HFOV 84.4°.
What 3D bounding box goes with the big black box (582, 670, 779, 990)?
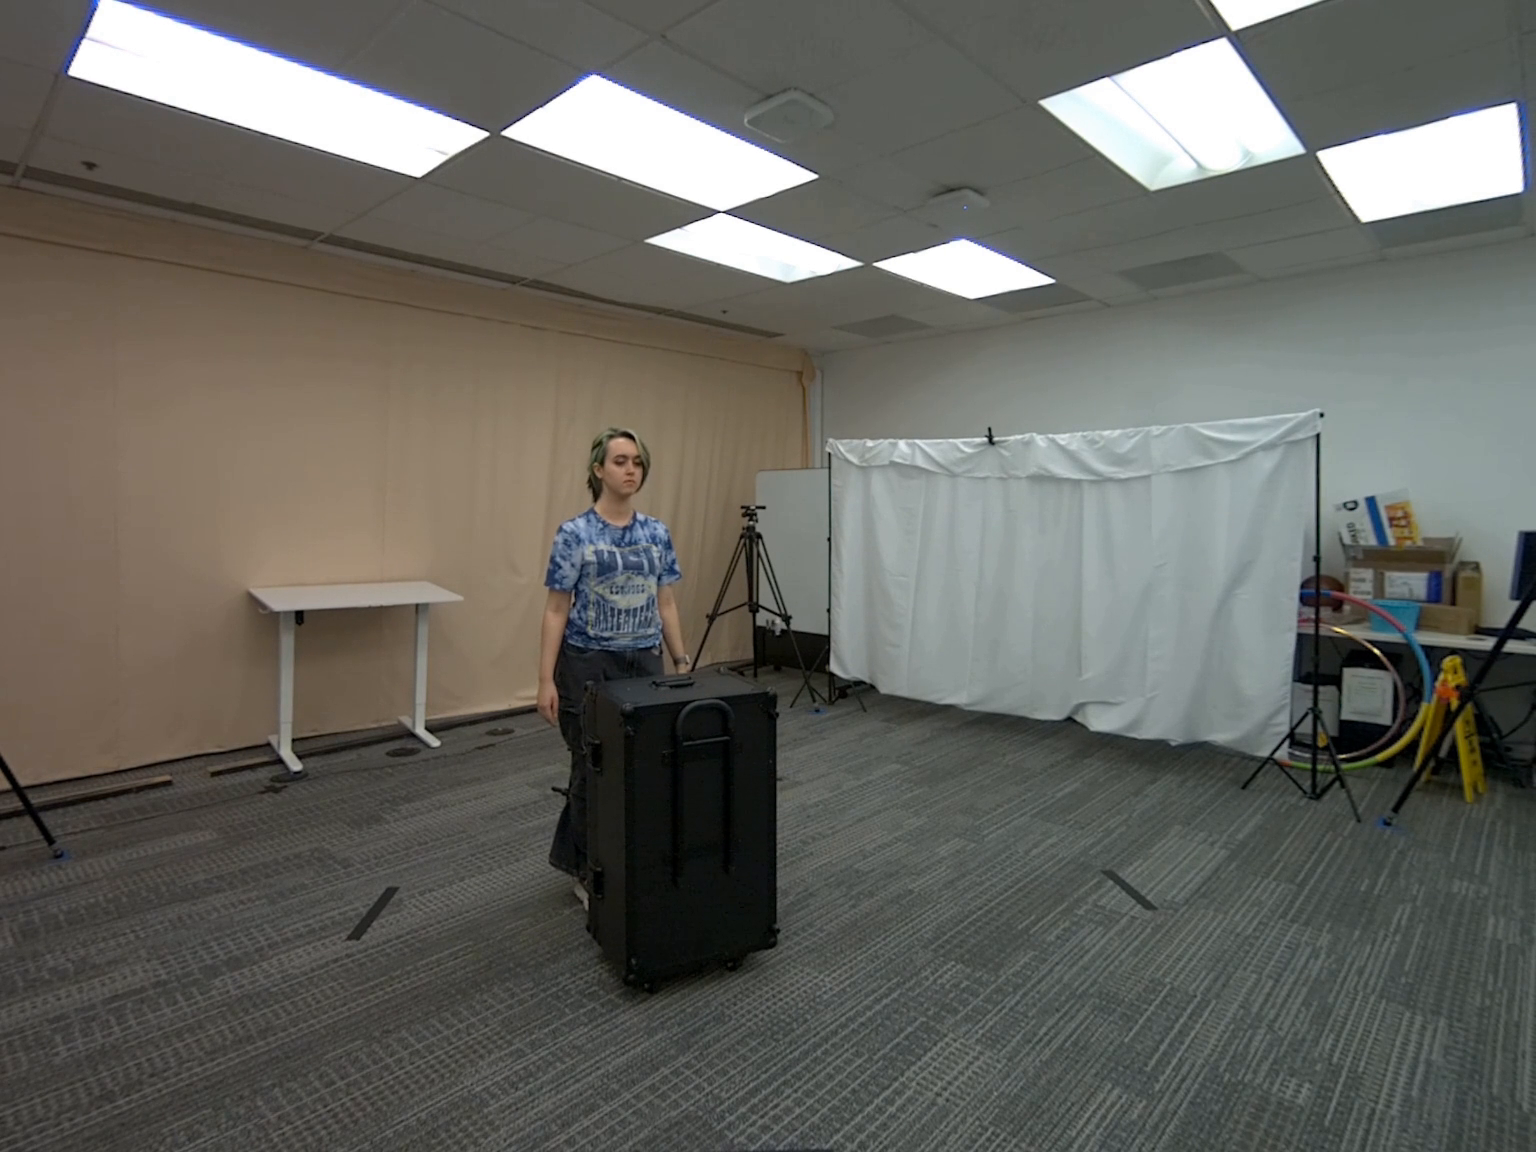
[{"bbox_3d":[-0.260,0.700,2.546,0.508,0.860,0.407,-1,4,-28],"label":"big black box"}]
